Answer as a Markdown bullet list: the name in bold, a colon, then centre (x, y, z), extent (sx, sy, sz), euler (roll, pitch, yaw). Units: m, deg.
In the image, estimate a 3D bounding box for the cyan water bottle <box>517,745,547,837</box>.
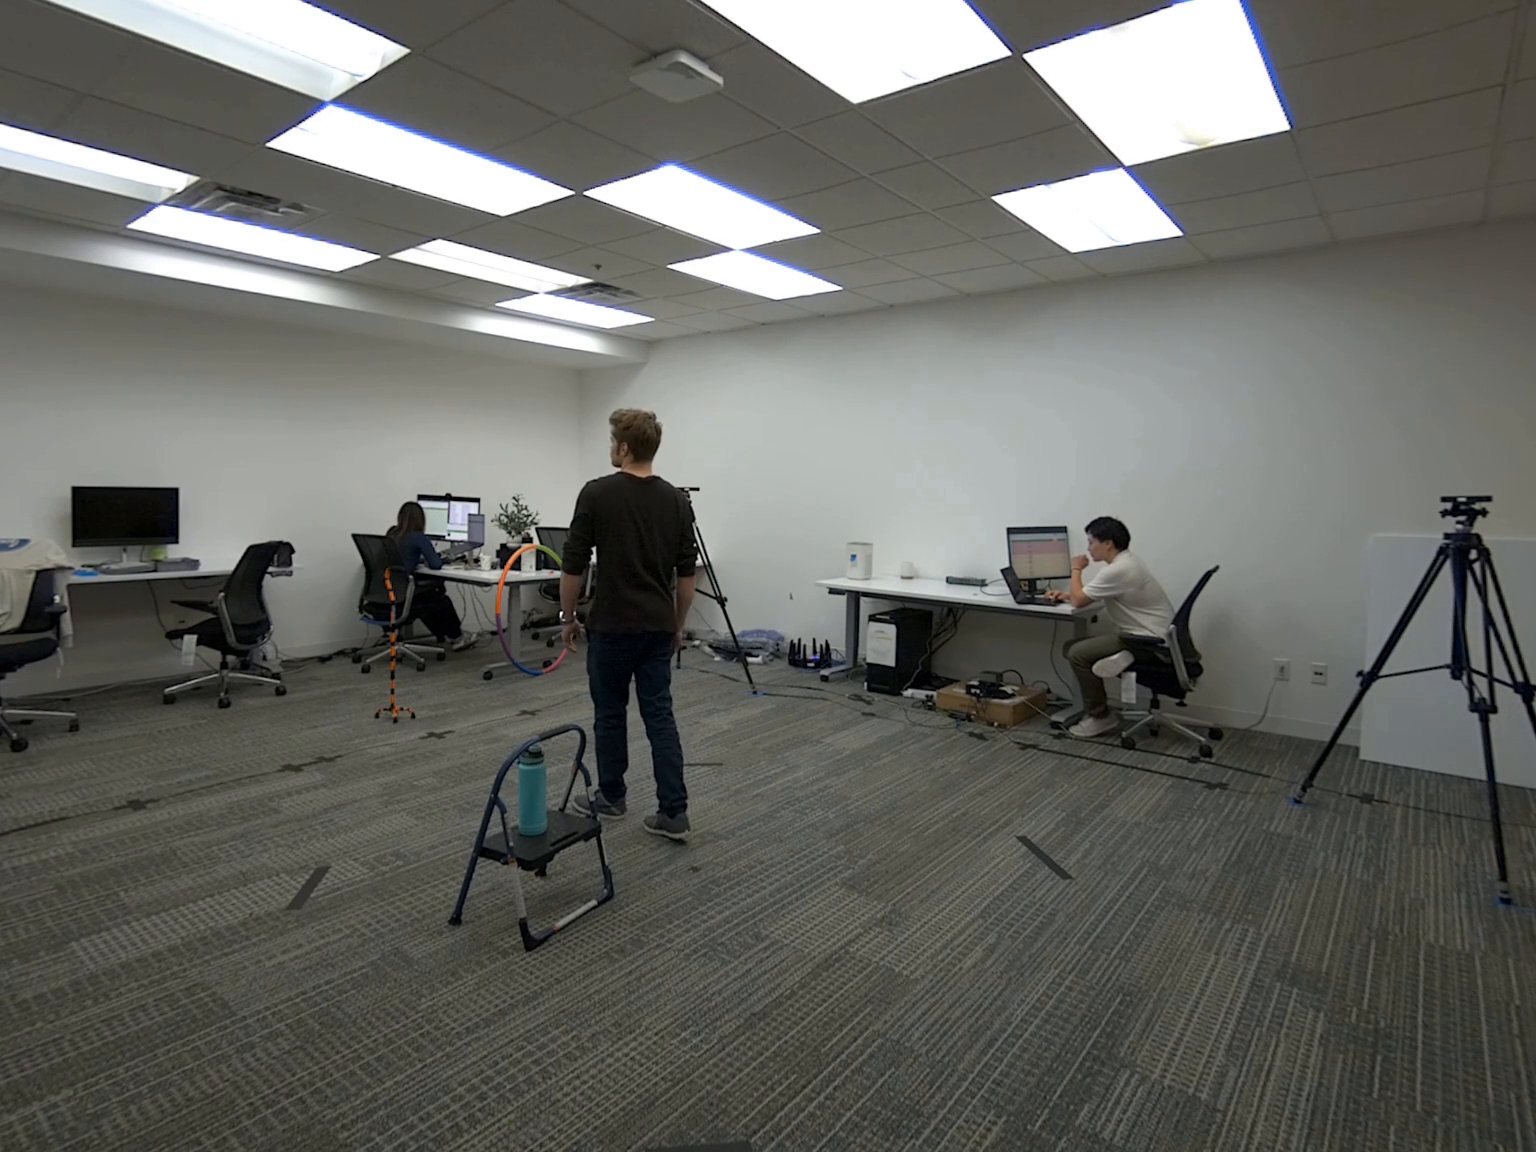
- **cyan water bottle**: centre (-0.782, 0.688, 2.770), extent (0.092, 0.282, 0.093), euler (0, 4, -2)
